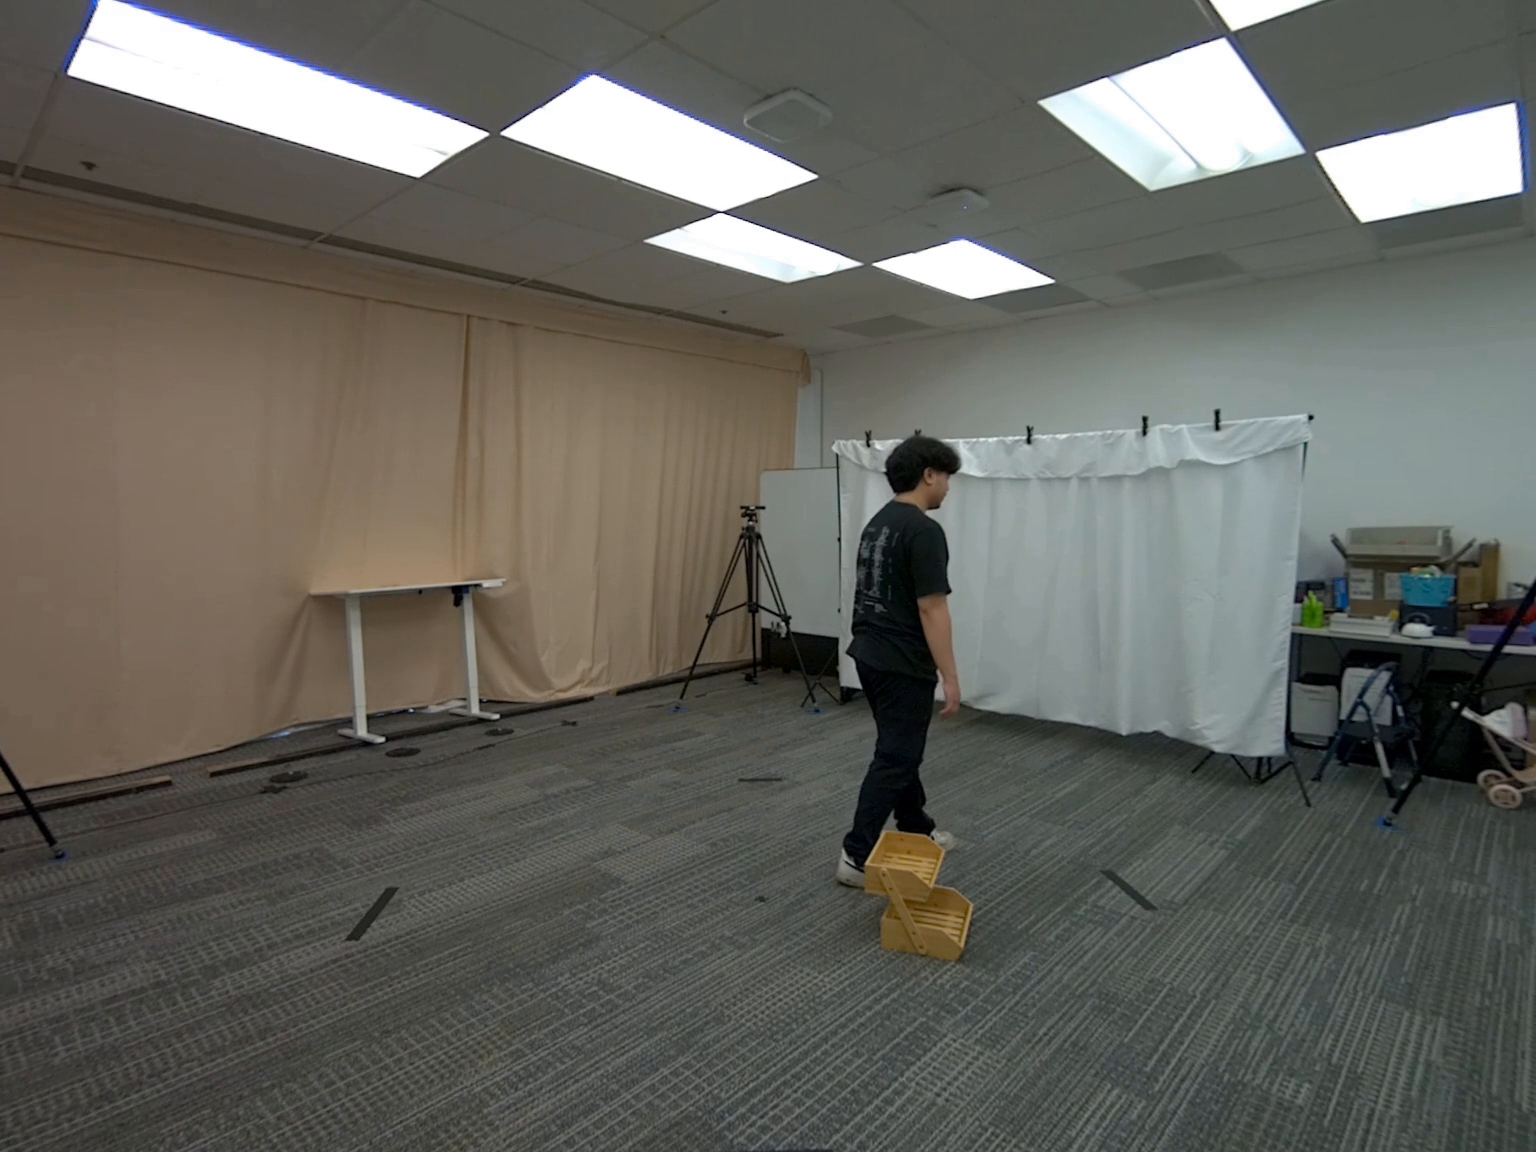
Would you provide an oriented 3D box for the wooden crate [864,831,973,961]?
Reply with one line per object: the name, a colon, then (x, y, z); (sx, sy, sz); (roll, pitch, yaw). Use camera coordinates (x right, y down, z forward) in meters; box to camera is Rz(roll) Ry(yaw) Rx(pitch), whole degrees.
wooden crate: (0.507, 1.026, 2.748); (0.309, 0.273, 0.318); (1, 4, 21)
